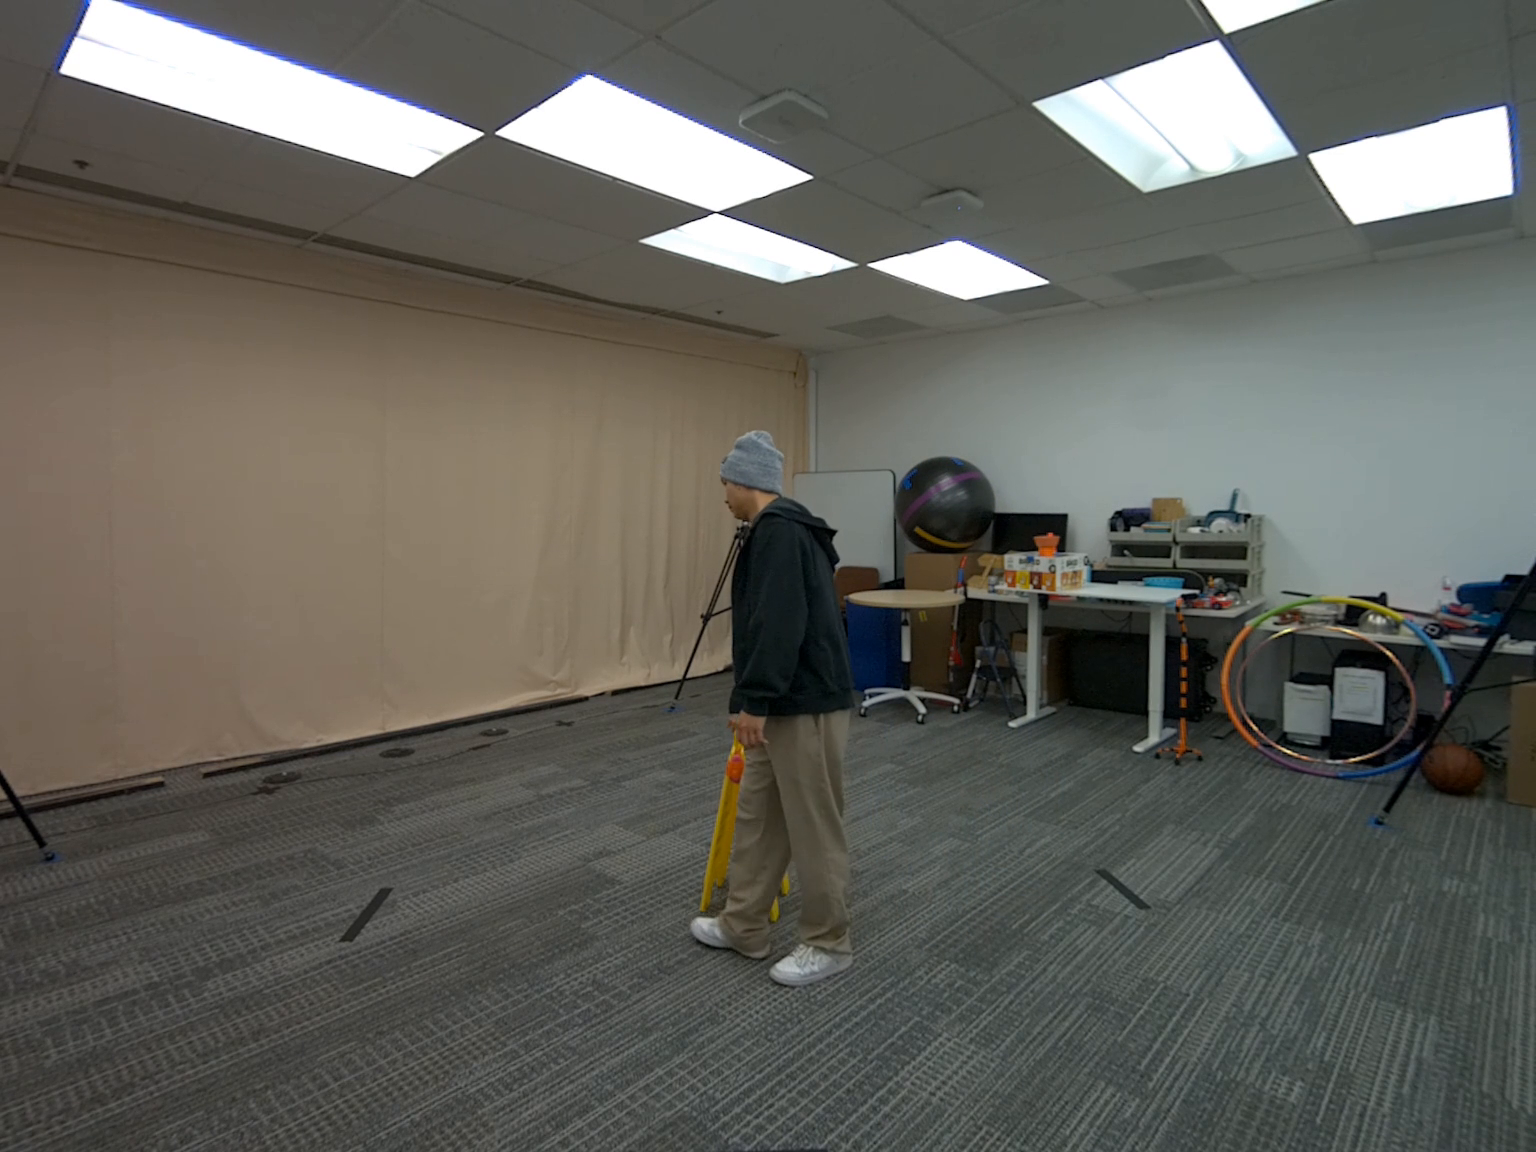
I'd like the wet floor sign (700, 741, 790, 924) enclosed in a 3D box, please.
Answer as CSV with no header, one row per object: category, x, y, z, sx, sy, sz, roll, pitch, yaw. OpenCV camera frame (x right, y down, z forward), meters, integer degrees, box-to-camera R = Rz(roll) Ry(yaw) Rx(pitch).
wet floor sign,-0.078,0.820,2.958,0.294,0.645,0.278,0,2,13
